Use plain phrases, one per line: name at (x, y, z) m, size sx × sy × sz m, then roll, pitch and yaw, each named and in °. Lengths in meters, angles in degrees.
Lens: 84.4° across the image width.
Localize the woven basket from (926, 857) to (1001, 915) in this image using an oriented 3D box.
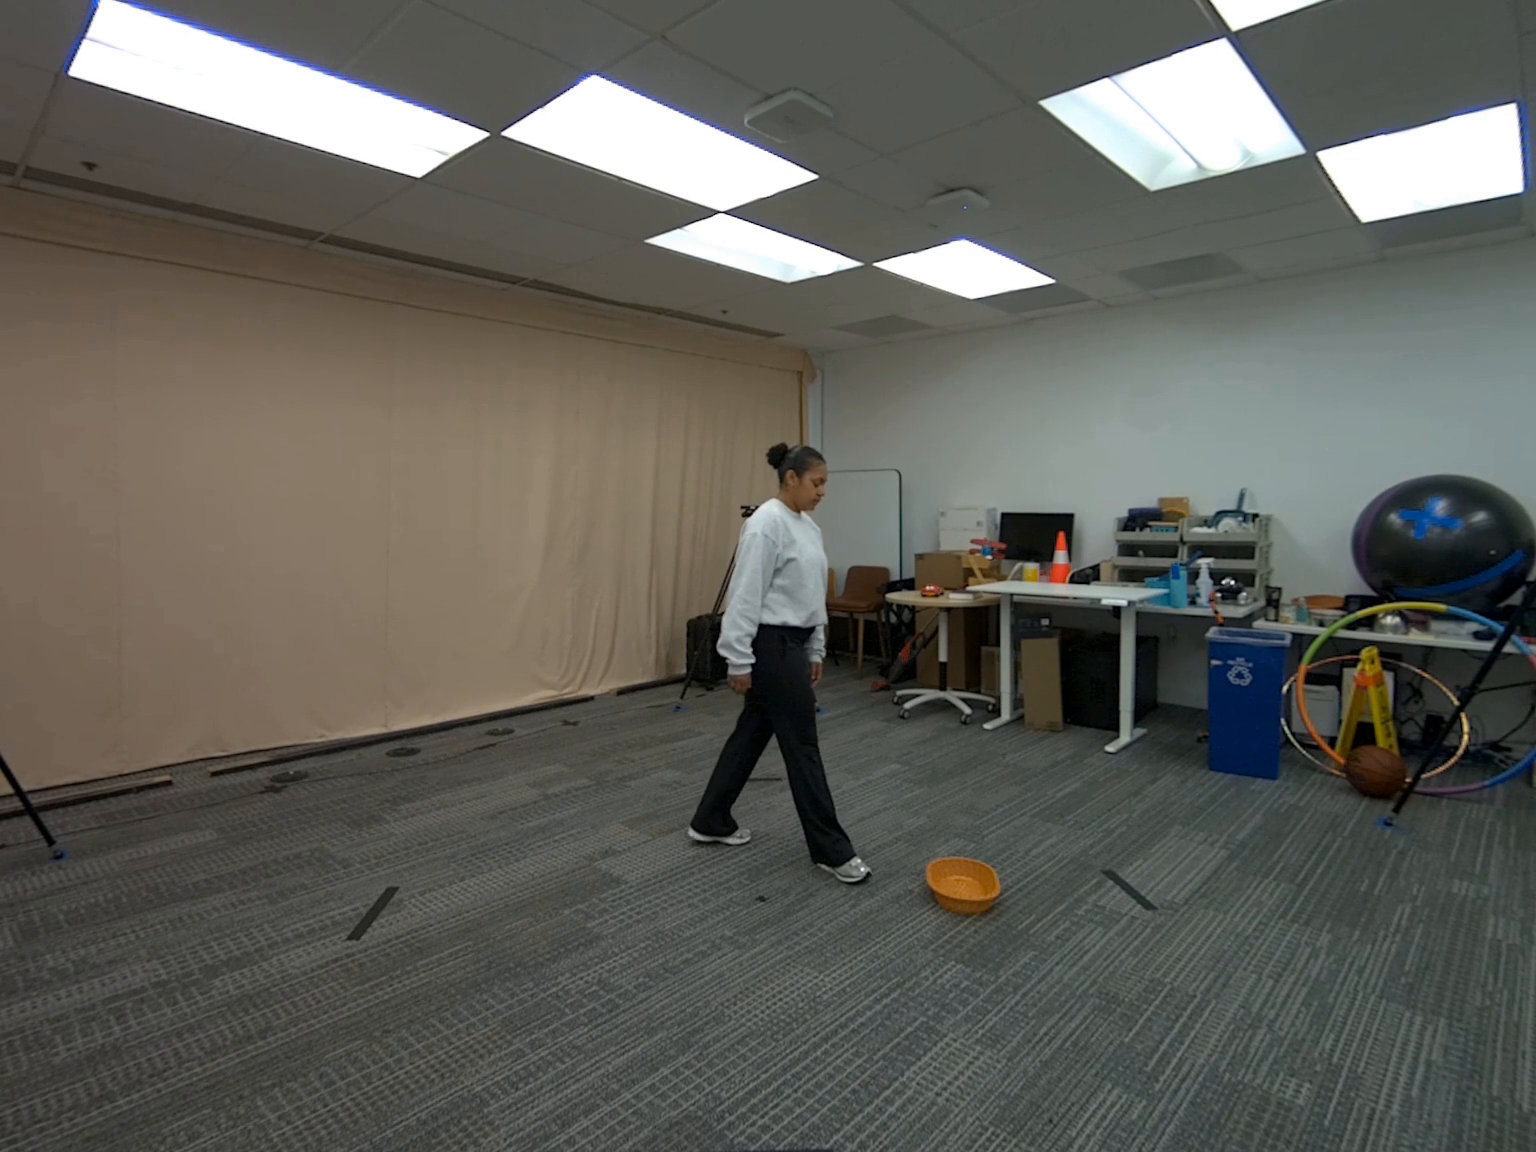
woven basket at (0.694, 1.102, 2.994) m, size 0.256 × 0.073 × 0.346 m, roll 1°, pitch 5°, yaw 12°
